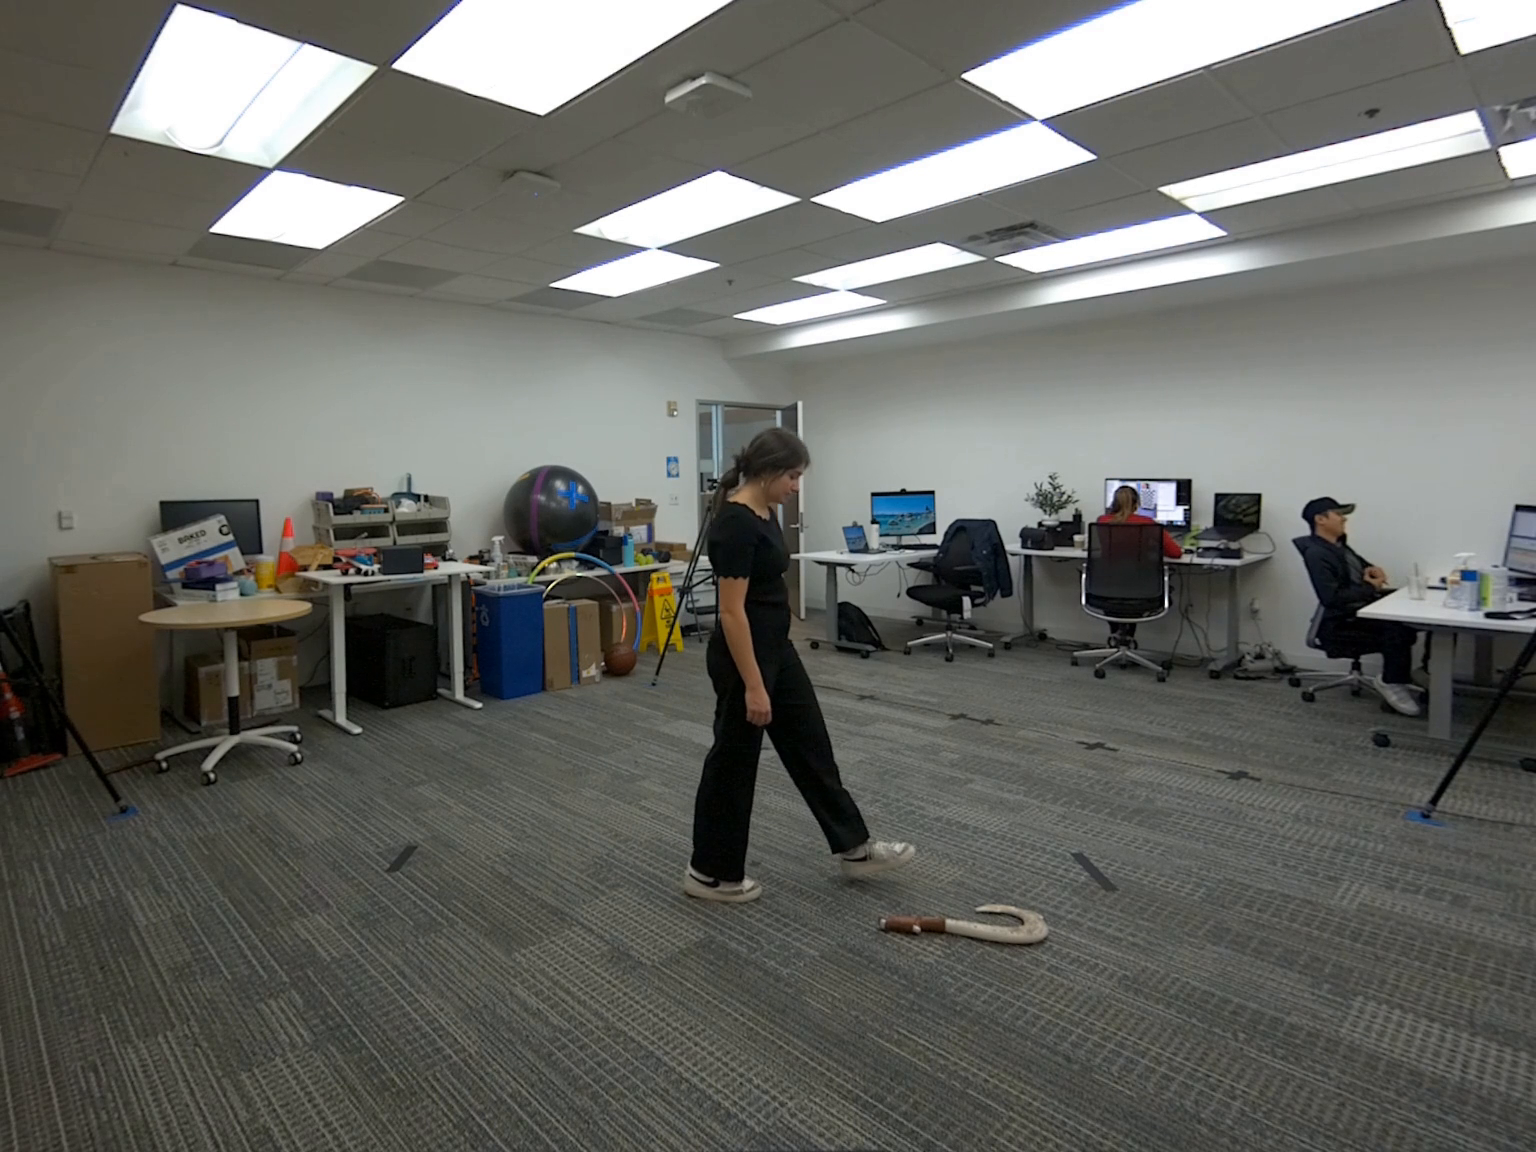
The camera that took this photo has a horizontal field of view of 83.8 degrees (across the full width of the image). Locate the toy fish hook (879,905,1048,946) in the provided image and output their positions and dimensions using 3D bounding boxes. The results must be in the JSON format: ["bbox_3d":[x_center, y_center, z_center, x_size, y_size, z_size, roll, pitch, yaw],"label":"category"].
[{"bbox_3d":[0.597,1.066,2.651,0.510,0.048,0.222,0,0,7],"label":"toy fish hook"}]
